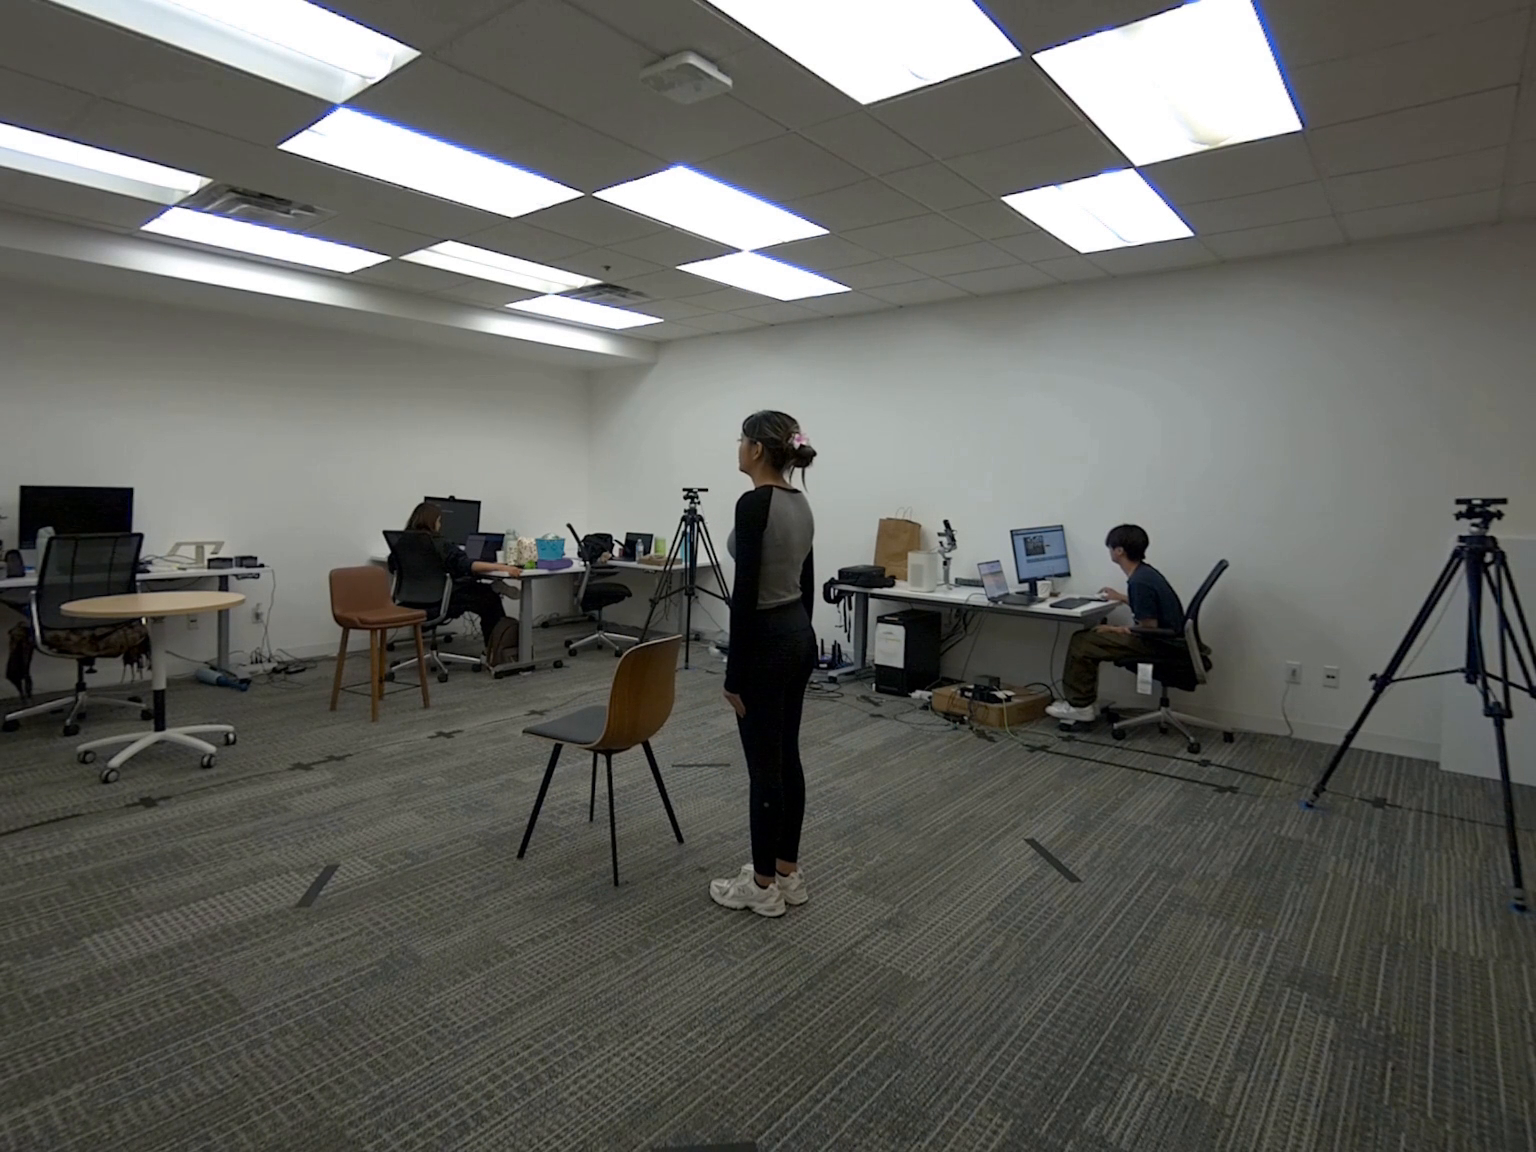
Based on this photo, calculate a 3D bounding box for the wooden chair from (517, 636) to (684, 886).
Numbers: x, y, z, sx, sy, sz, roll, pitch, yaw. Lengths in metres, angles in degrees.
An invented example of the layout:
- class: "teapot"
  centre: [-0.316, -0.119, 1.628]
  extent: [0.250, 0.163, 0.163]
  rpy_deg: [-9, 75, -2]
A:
- class: "wooden chair"
  centre: [-0.643, 0.622, 3.232]
  extent: [0.539, 0.873, 0.466]
  rpy_deg: [8, 6, 27]
